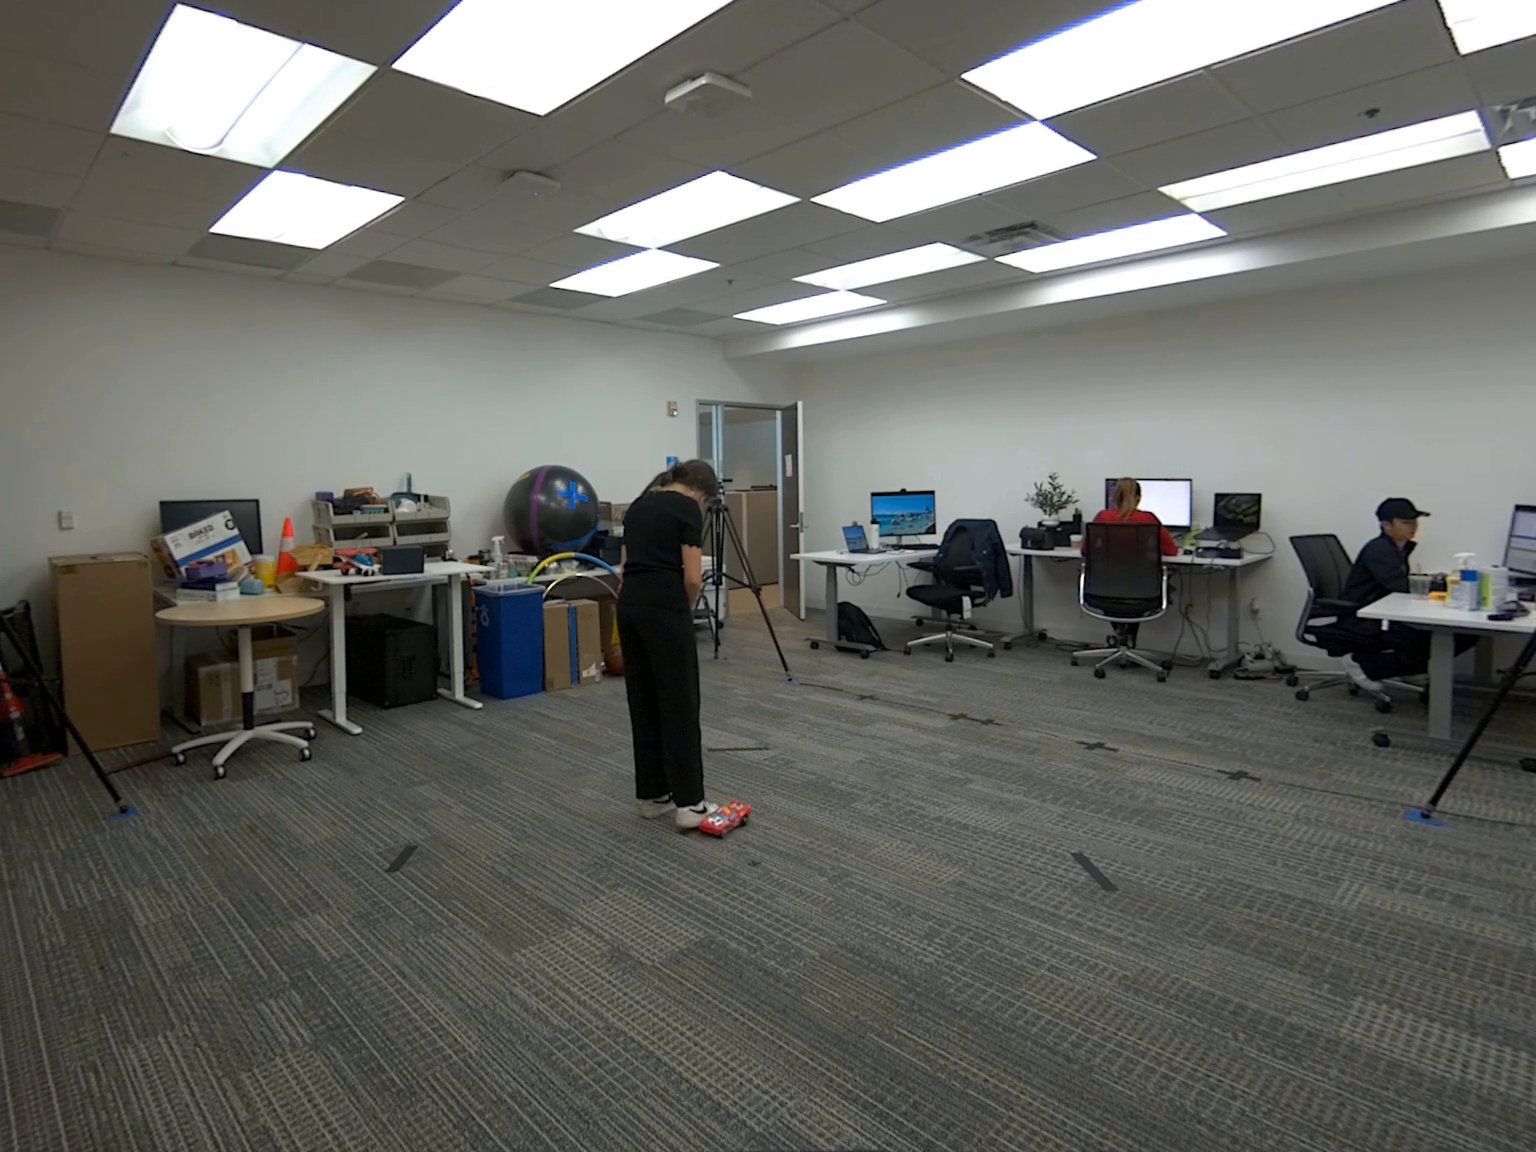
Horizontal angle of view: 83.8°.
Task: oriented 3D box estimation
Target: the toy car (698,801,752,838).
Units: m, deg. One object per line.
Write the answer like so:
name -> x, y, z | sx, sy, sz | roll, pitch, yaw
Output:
toy car -> -0.169, 0.973, 3.427 | 0.134, 0.082, 0.251 | 4, 18, 34
